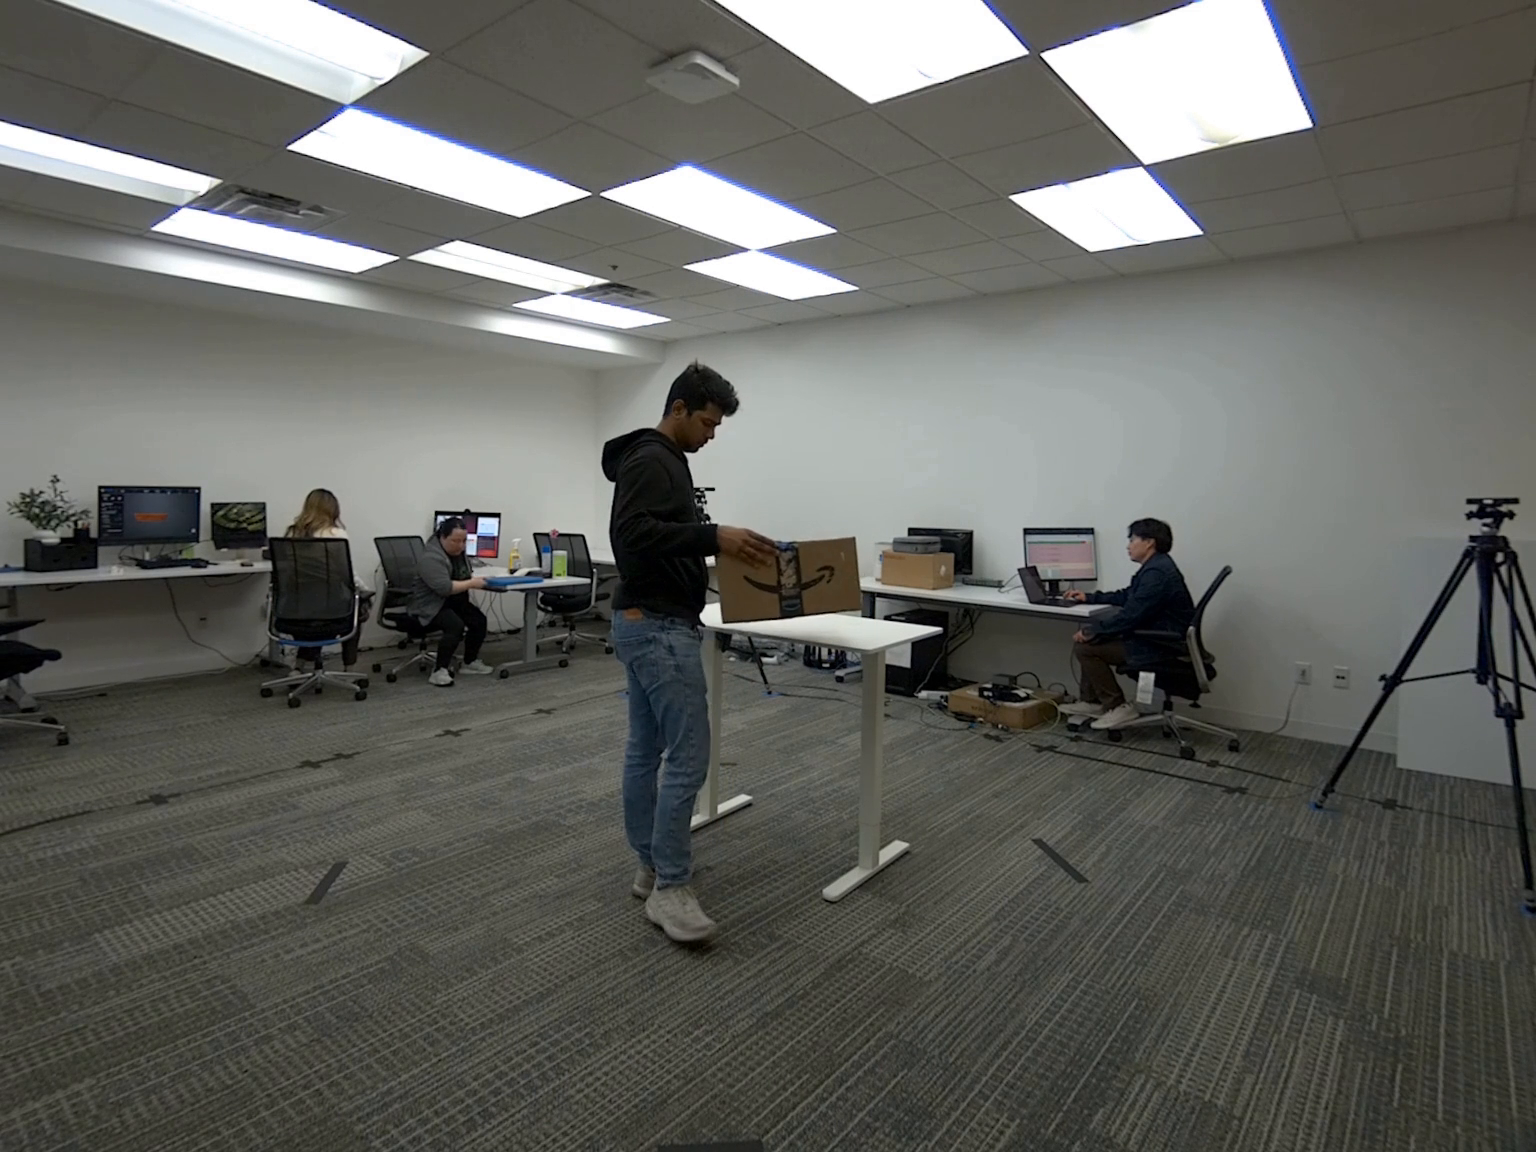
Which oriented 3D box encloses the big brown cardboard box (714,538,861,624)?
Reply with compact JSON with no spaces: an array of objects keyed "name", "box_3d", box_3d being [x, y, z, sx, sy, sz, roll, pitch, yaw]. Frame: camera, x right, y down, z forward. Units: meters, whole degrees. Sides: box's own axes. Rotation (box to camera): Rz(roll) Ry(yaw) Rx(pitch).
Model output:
[{"name":"big brown cardboard box","box_3d":[0.035,-0.001,2.755,0.418,0.233,0.589,-4,2,-1]}]
